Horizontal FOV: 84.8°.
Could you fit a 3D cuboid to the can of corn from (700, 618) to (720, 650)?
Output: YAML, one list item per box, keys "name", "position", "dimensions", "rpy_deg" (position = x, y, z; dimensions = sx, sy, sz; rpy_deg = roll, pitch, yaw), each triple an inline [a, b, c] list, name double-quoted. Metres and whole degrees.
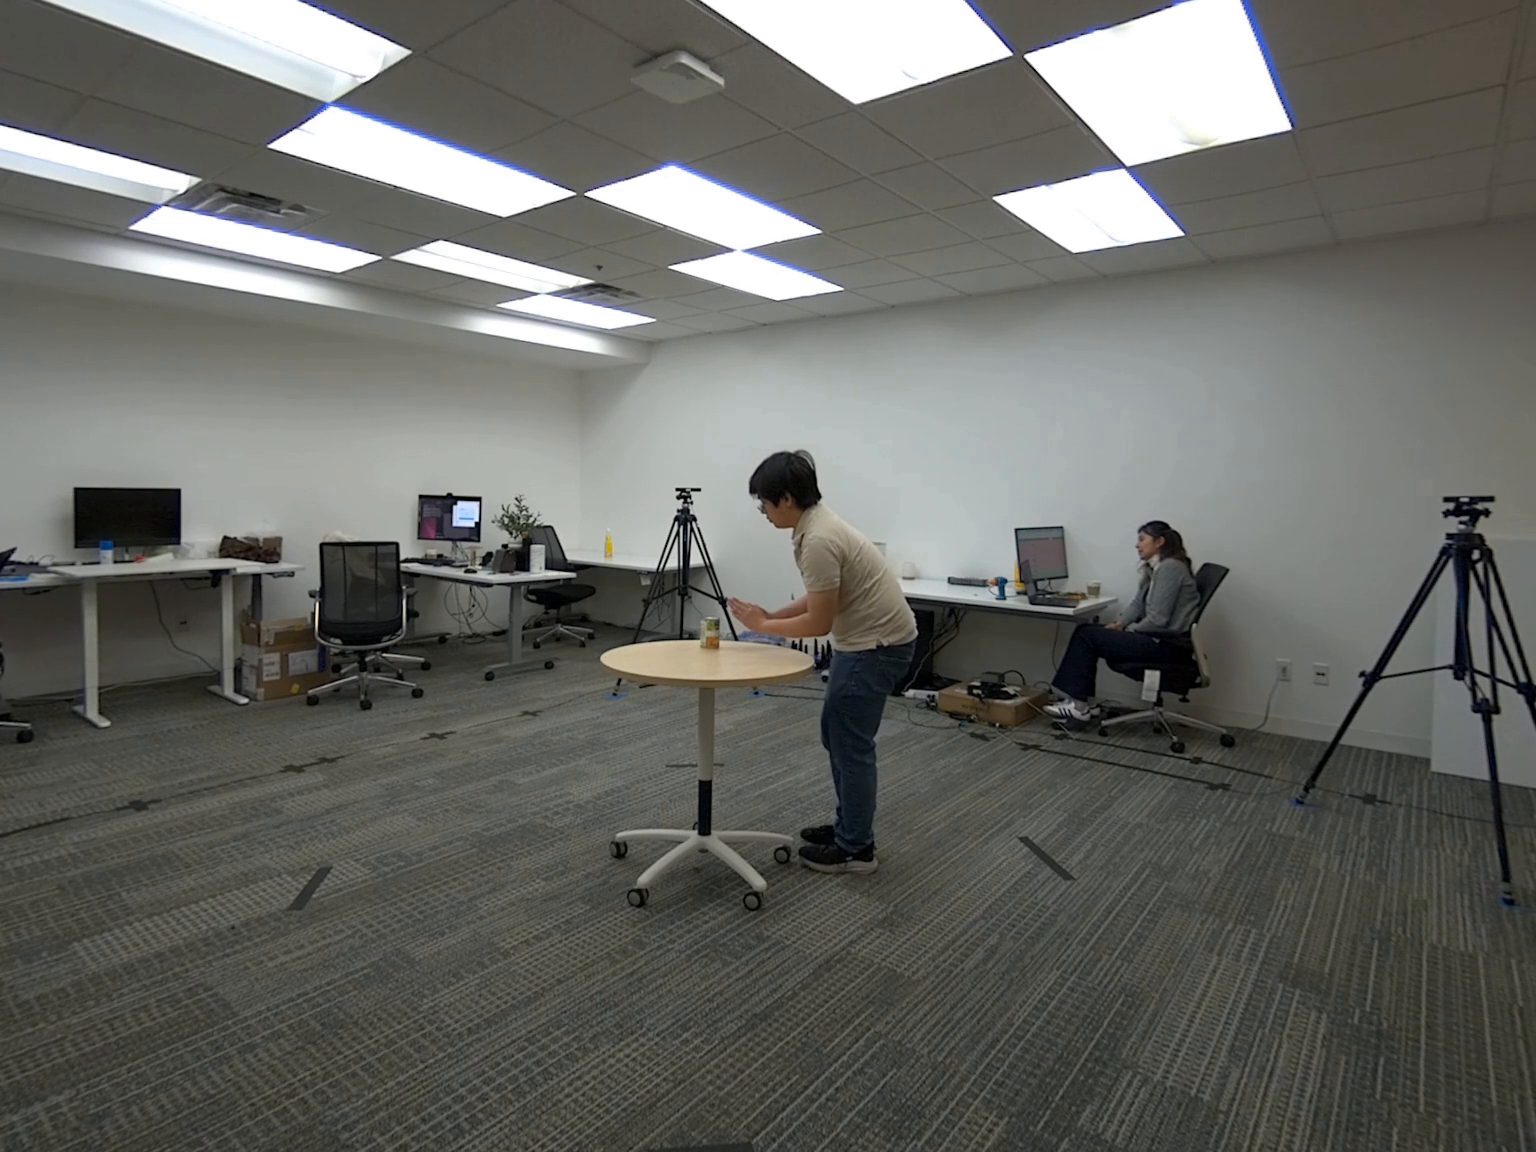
- name: "can of corn"
  position: [-0.236, 0.217, 3.291]
  dimensions: [0.074, 0.111, 0.074]
  rpy_deg: [5, 1, -2]
